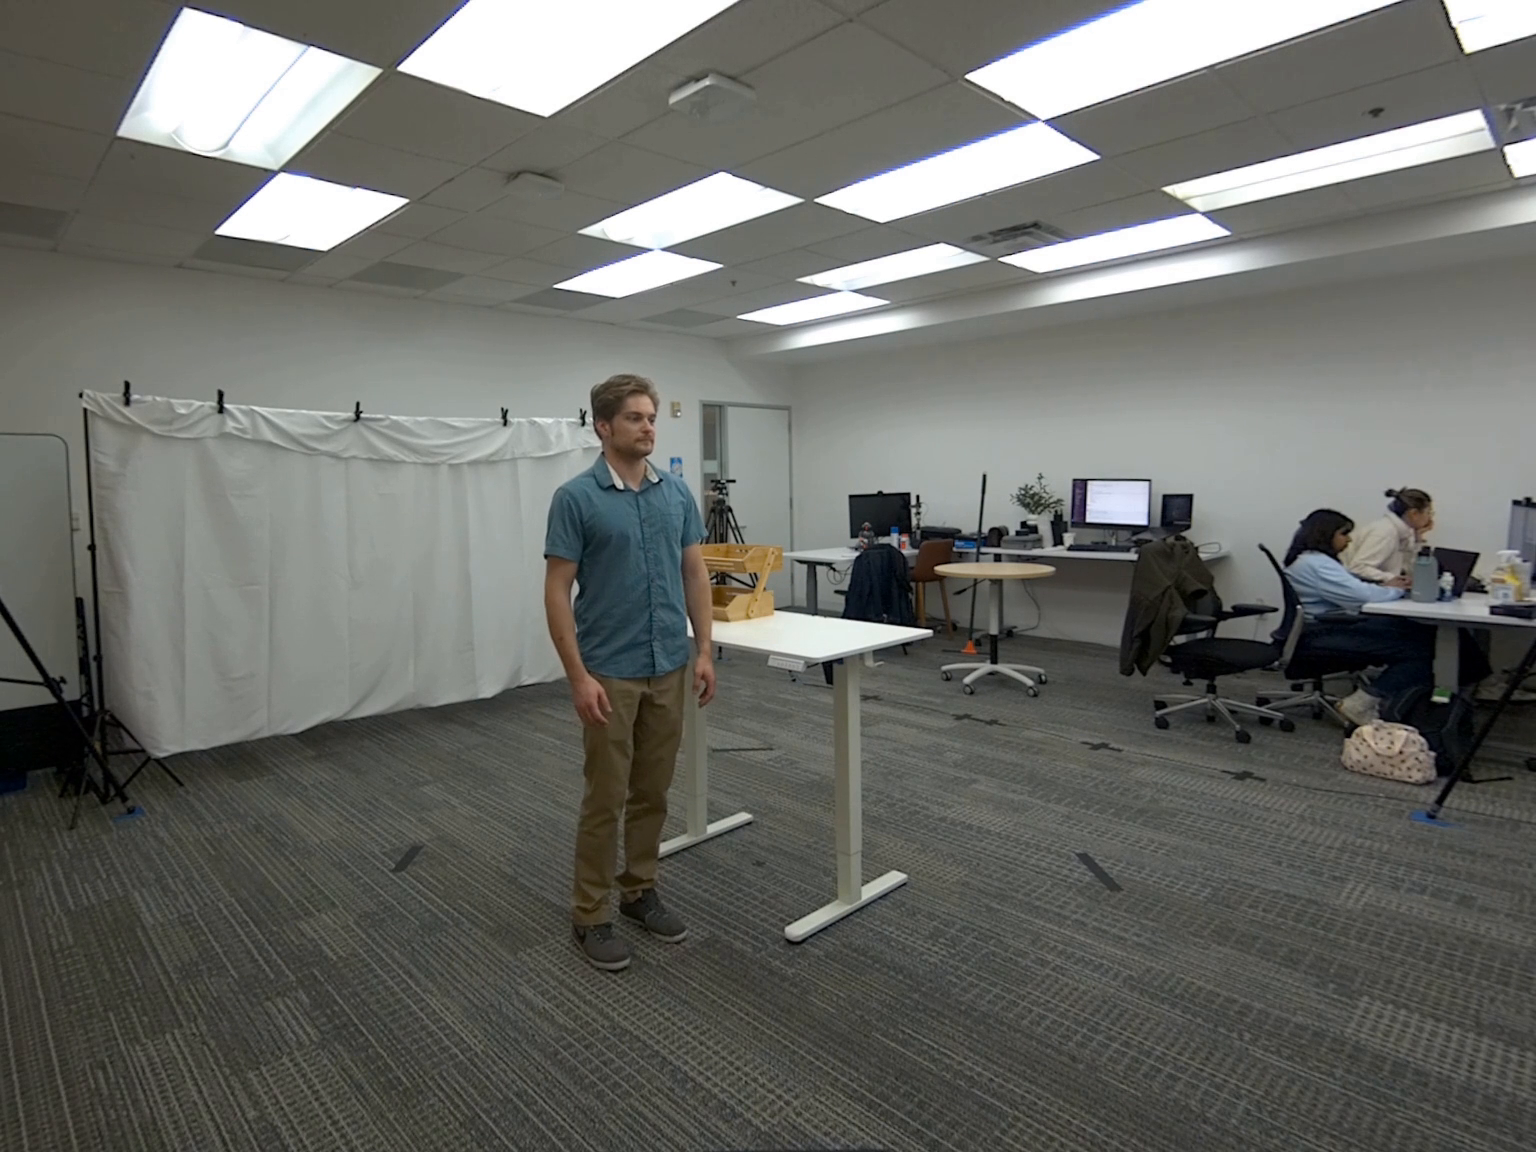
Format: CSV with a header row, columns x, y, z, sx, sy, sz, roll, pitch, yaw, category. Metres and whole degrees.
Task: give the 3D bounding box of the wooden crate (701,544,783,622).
x,y,z,sx,sy,sz,roll,pitch,yaw,category
-0.154,0.015,3.289,0.334,0.272,0.294,4,6,45,wooden crate
